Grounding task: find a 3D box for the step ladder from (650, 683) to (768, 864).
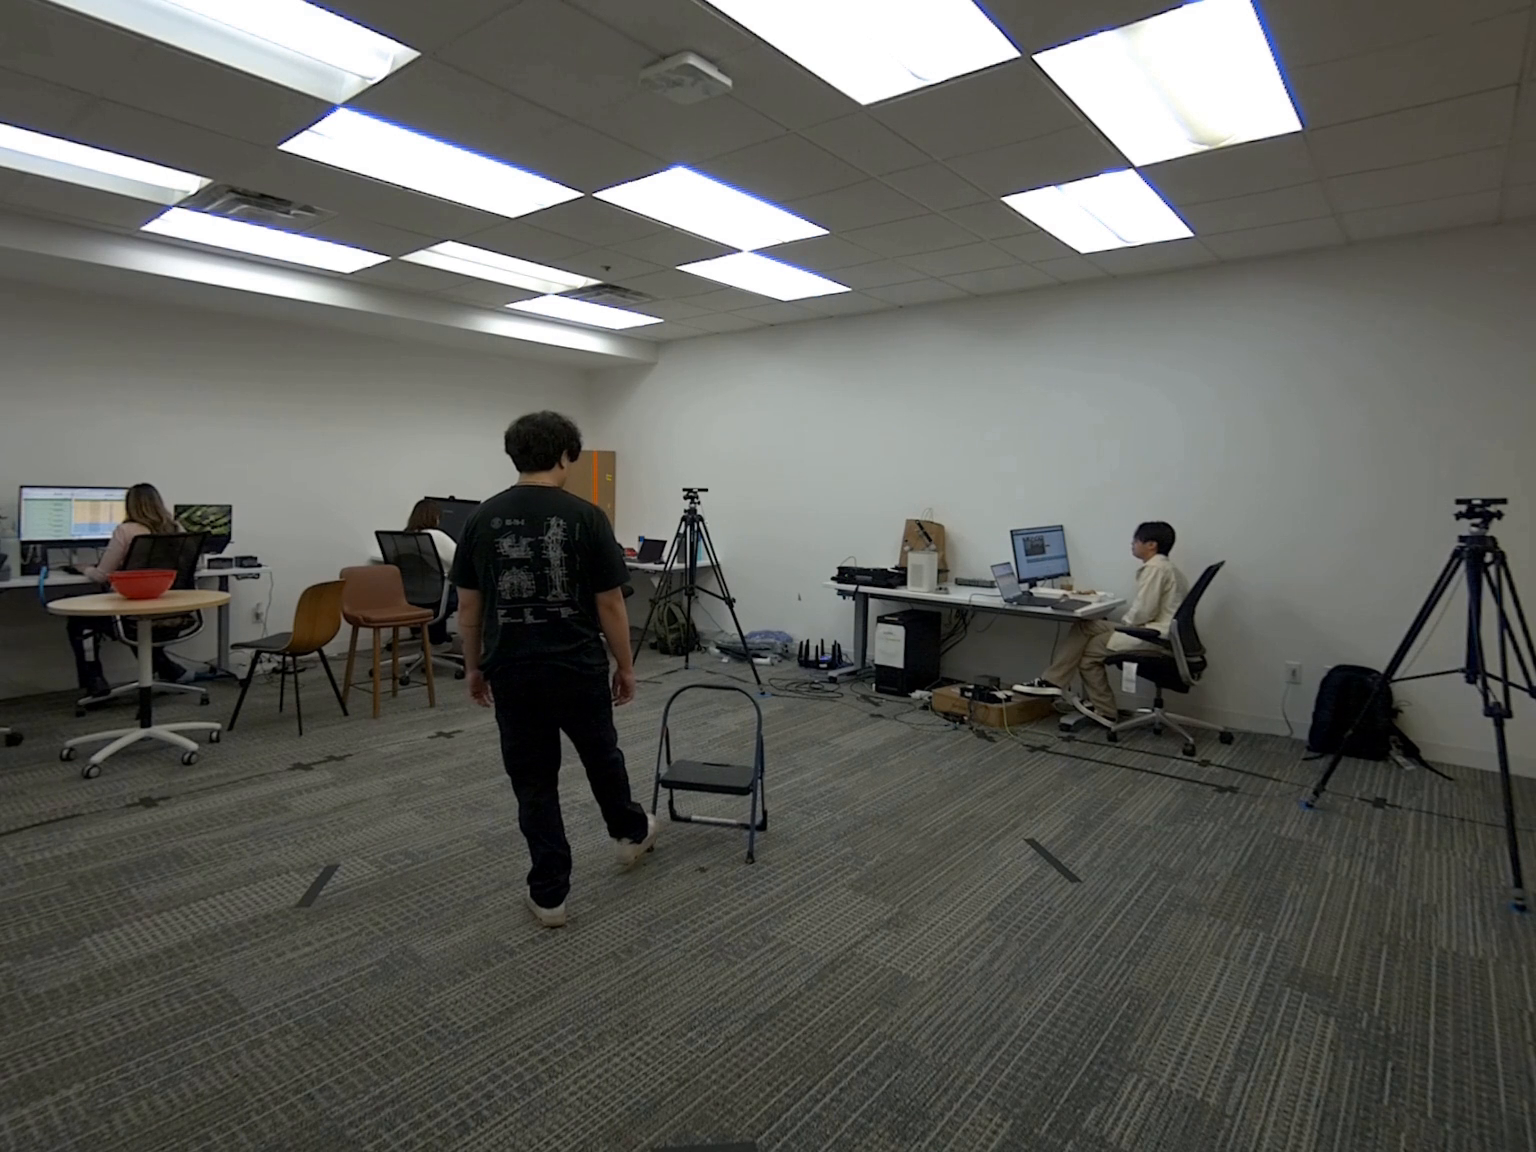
[{"bbox_3d":[-0.241,0.740,3.362,0.436,0.604,0.345,2,3,12],"label":"step ladder"}]
